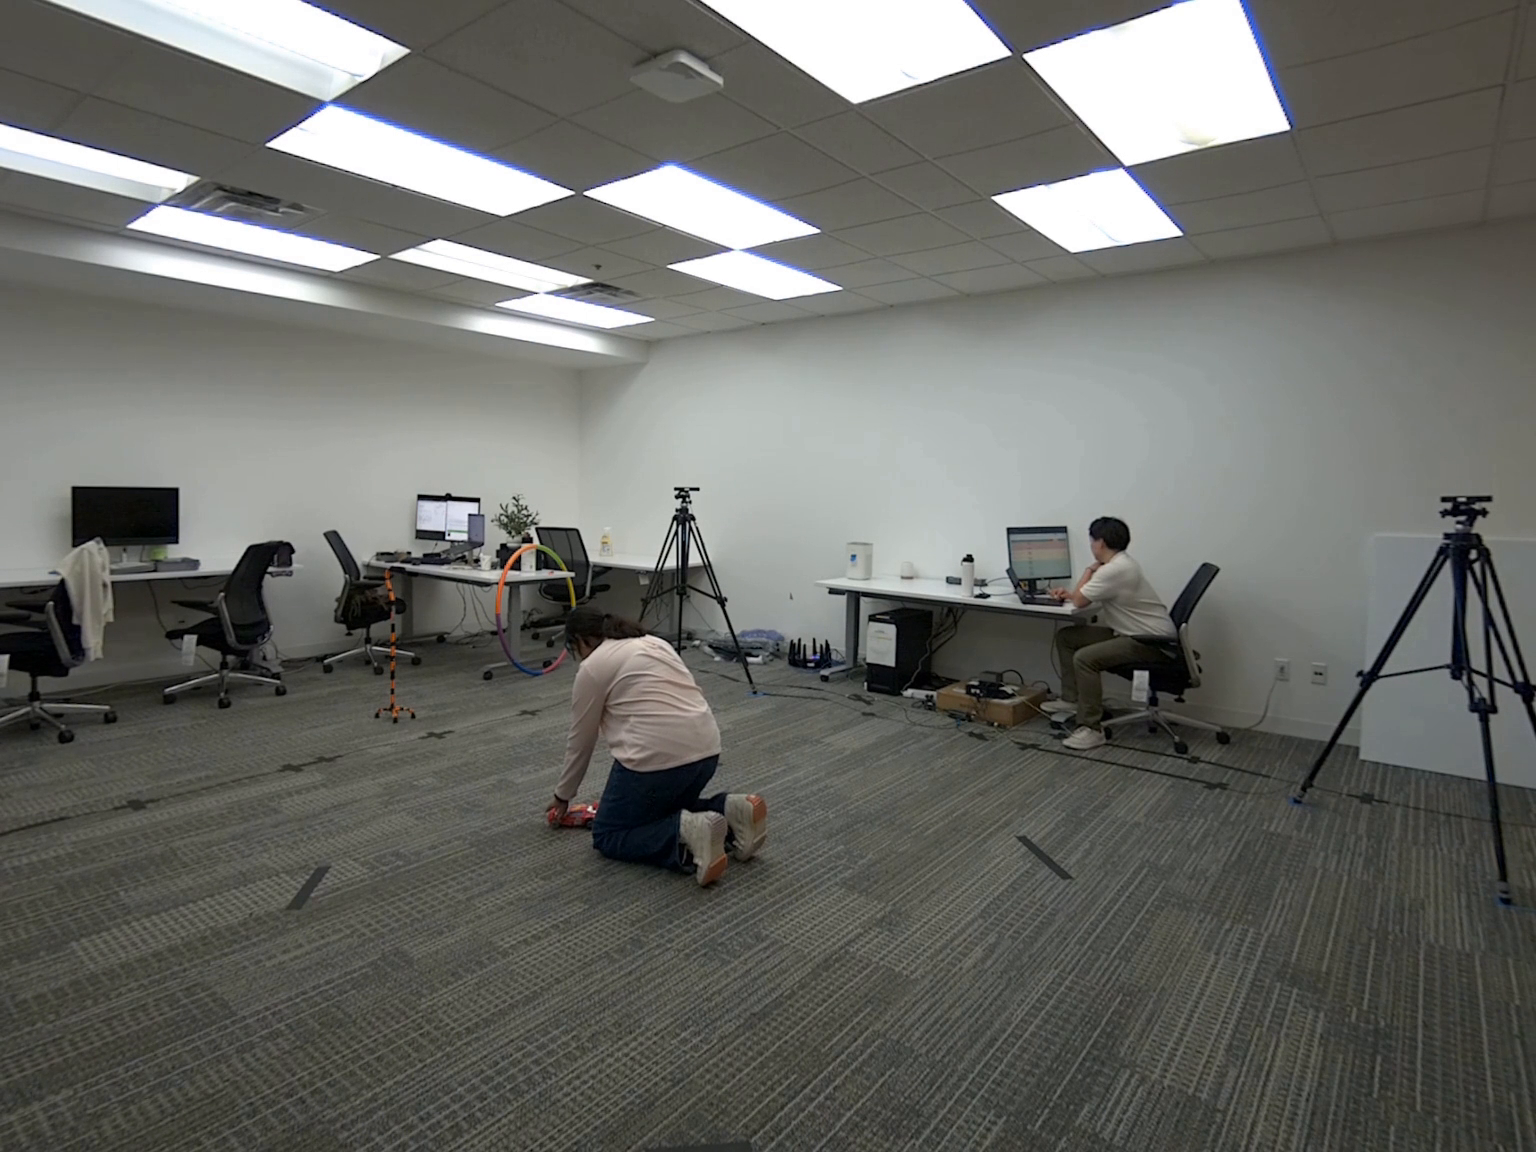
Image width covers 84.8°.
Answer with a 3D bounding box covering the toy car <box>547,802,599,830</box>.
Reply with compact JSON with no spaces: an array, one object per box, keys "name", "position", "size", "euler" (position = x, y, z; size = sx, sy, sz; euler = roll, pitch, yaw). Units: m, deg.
[{"name":"toy car","position":[-0.789,0.986,3.503],"size":[0.255,0.083,0.130],"euler":[-9,2,1]}]
